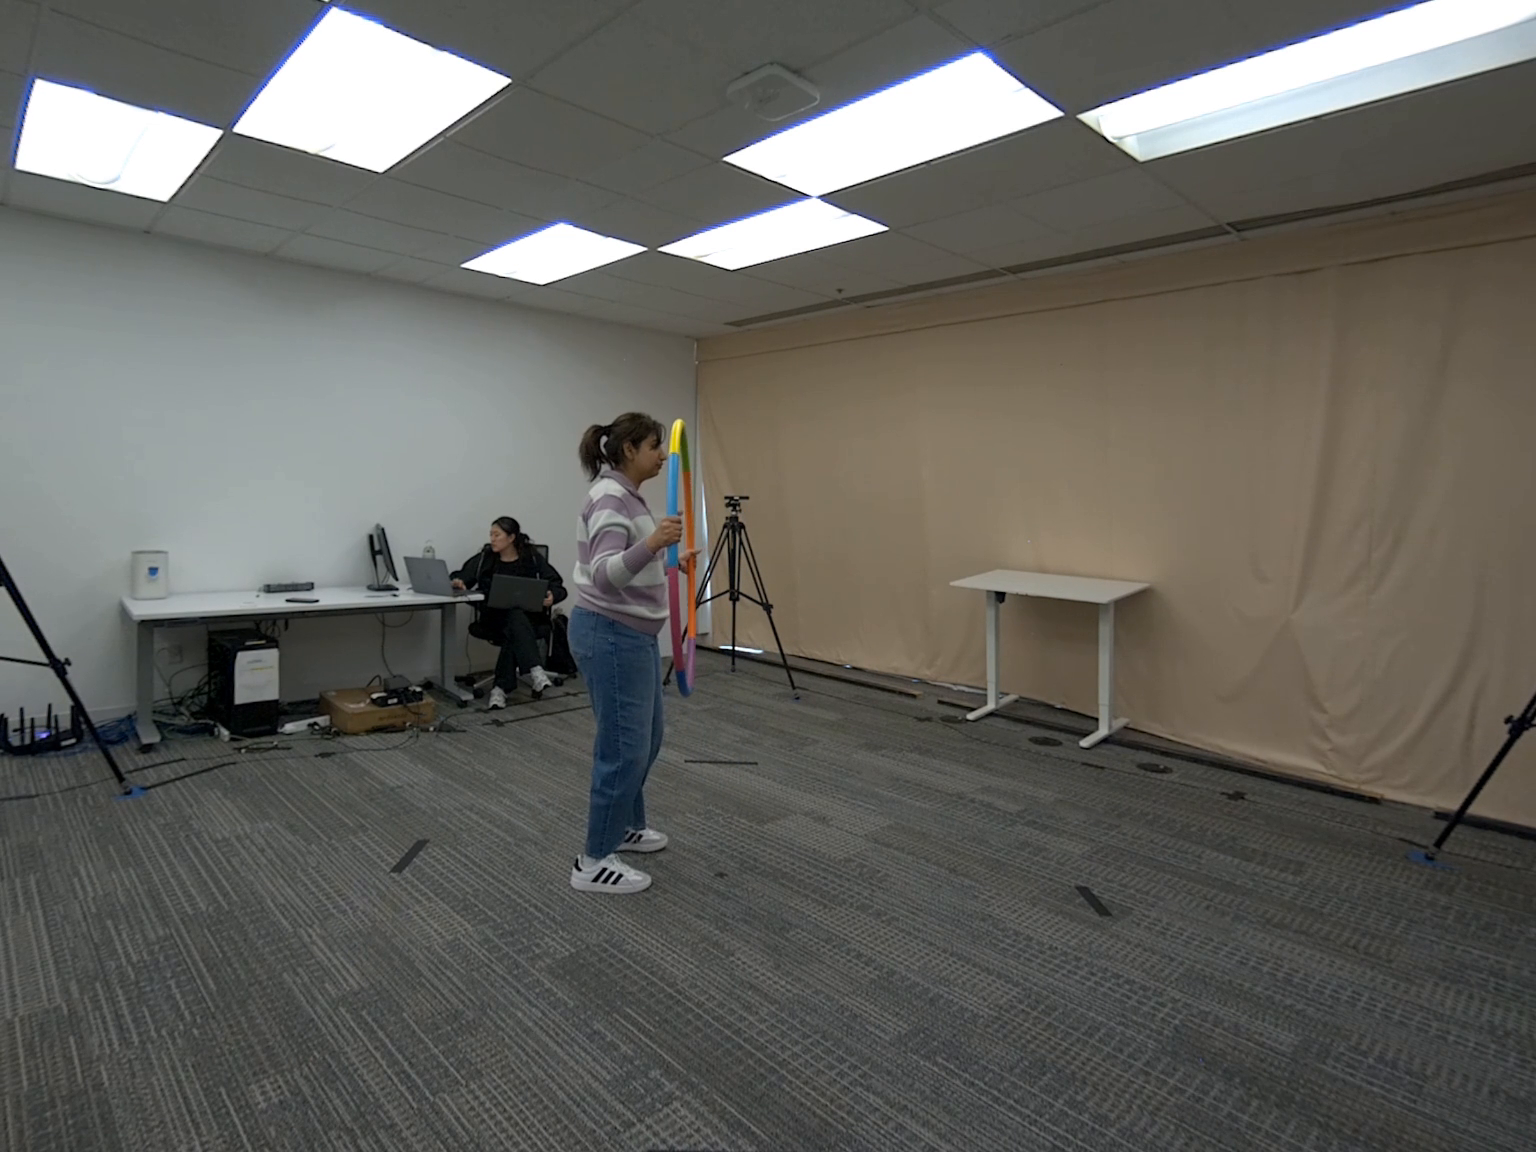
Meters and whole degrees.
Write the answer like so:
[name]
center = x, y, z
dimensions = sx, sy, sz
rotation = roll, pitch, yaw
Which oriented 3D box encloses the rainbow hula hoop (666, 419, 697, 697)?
[rainbow hula hoop]
center = -0.311, -0.062, 3.030
dimensions = 0.035, 0.976, 0.982
rotation = -2, 4, -2
